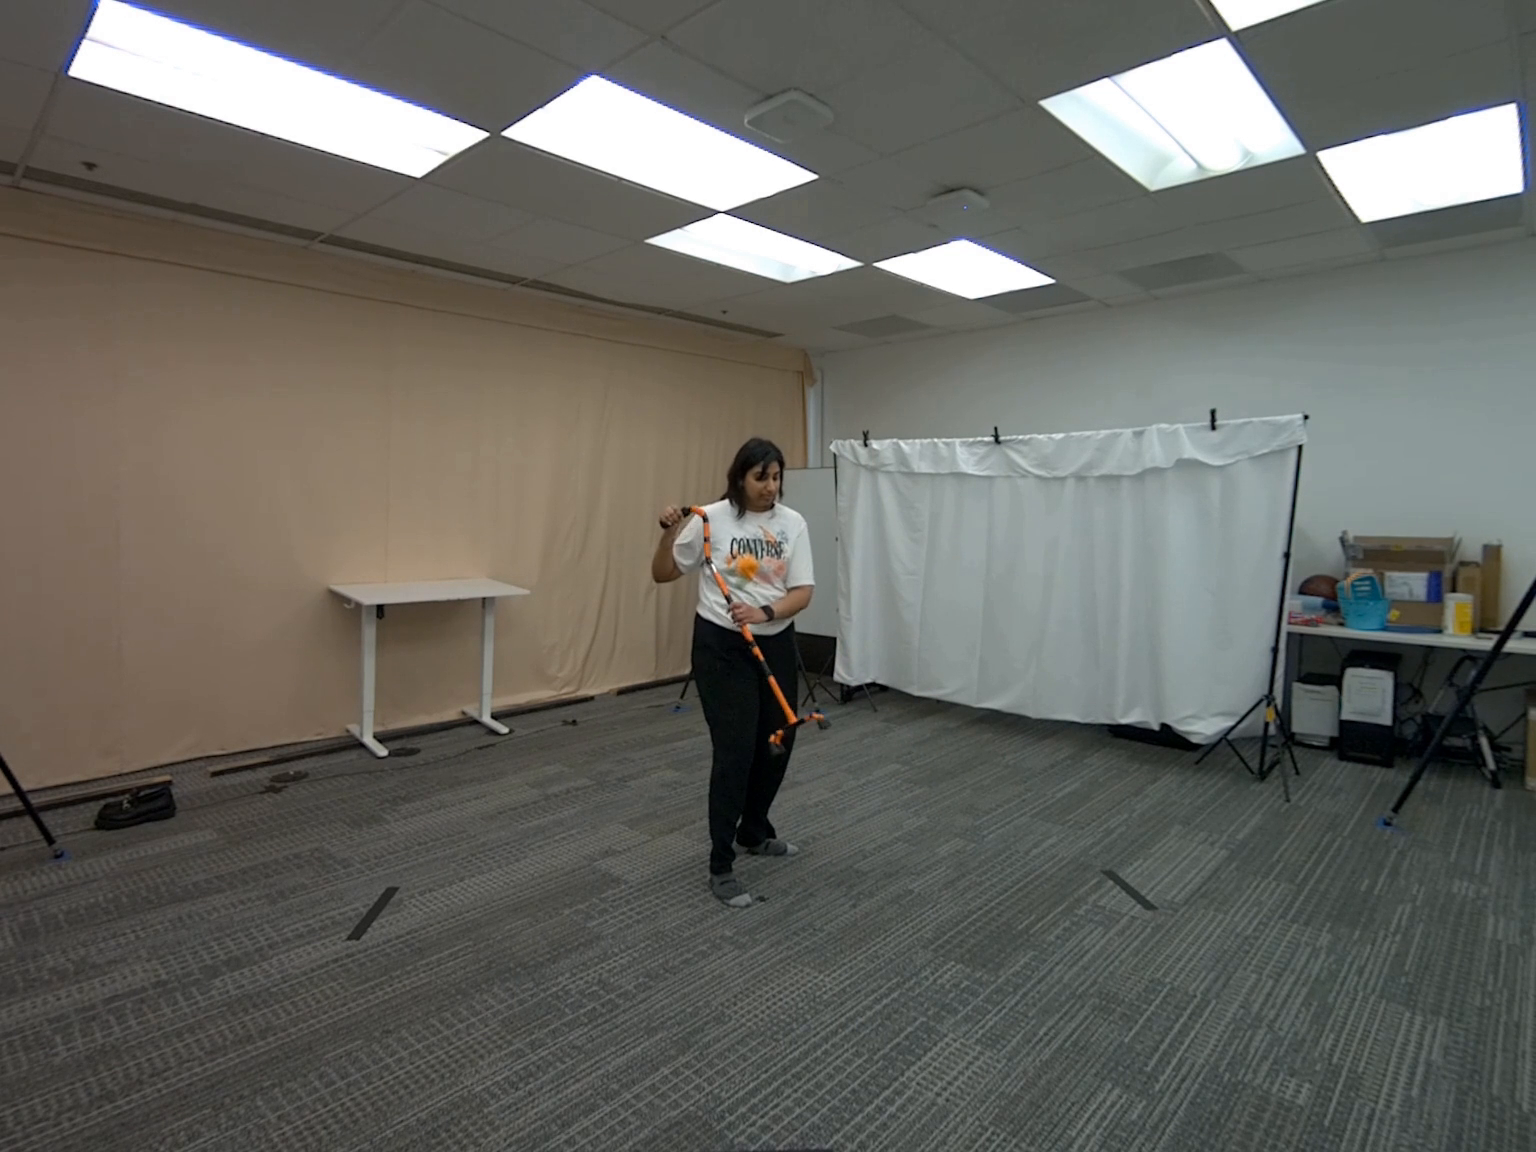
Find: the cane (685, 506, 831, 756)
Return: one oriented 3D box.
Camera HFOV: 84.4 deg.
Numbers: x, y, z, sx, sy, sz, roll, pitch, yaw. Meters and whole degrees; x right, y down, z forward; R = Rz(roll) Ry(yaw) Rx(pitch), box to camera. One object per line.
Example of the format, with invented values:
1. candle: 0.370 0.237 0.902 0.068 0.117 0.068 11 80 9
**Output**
1. cane: -0.088 0.150 2.887 0.207 0.923 0.148 -29 -16 7
